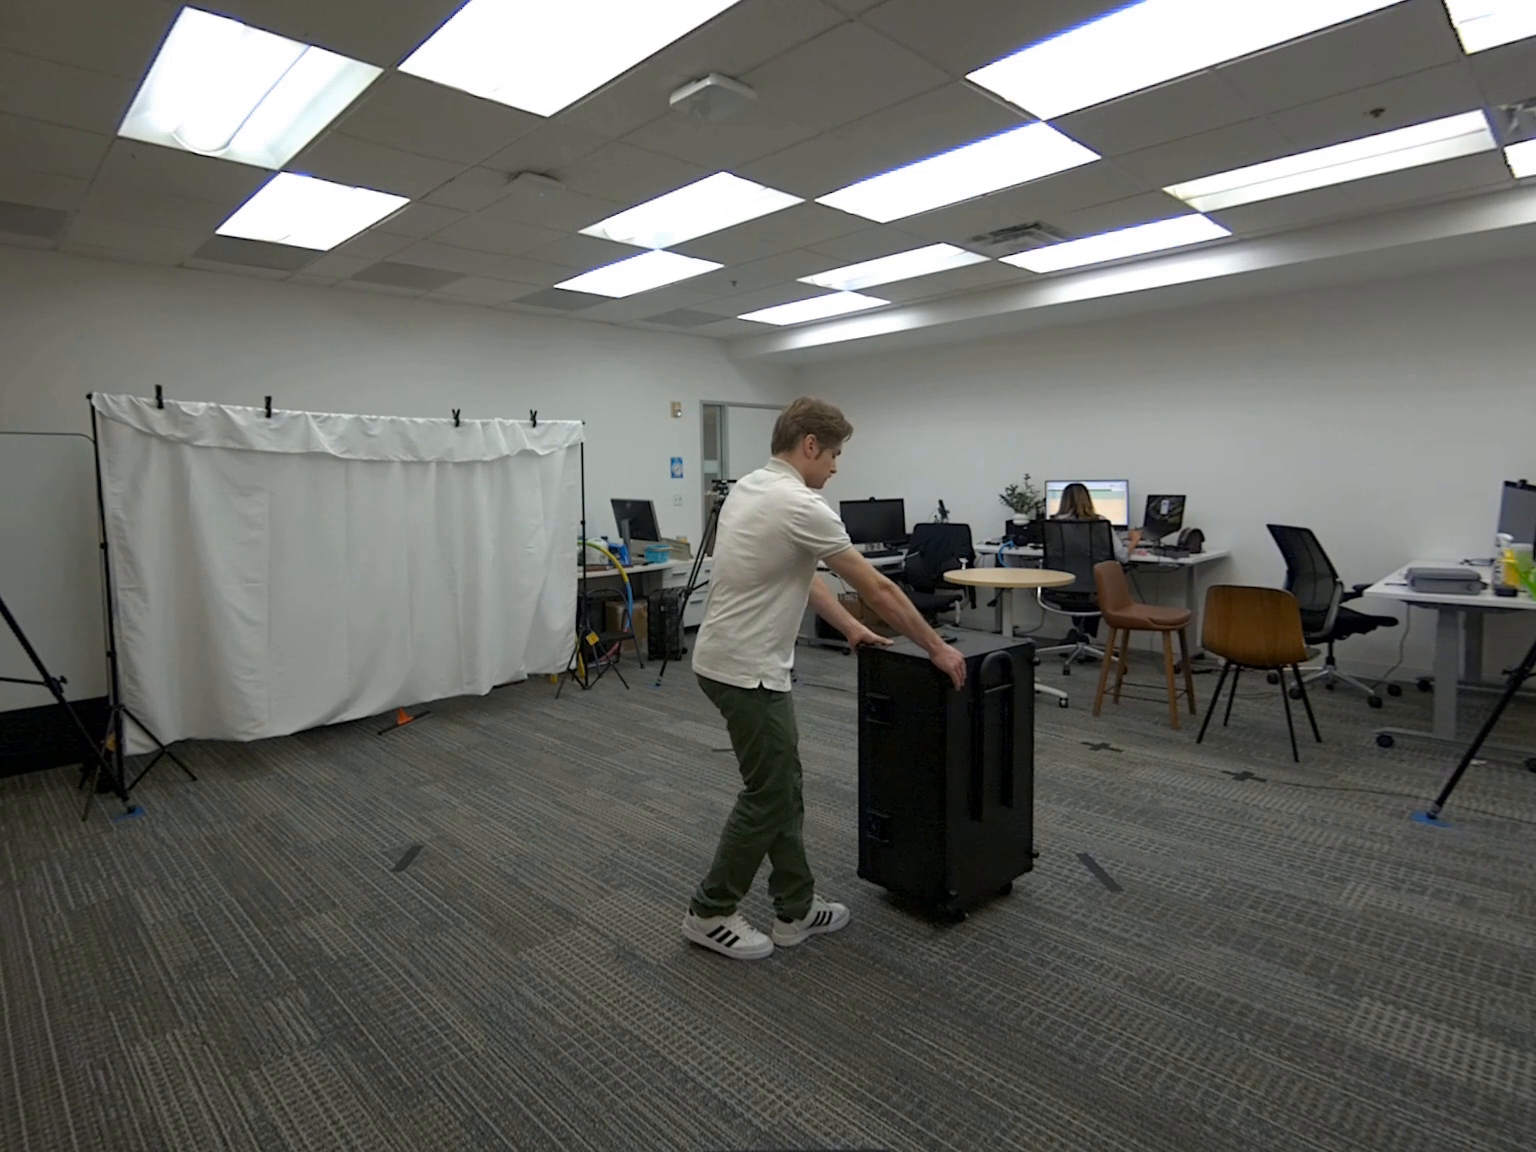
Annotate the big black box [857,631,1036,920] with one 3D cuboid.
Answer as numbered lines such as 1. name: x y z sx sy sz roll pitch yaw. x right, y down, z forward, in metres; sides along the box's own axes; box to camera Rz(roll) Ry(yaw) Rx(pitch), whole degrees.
1. big black box: 0.602 0.644 2.839 0.510 0.865 0.397 -5 6 -41
